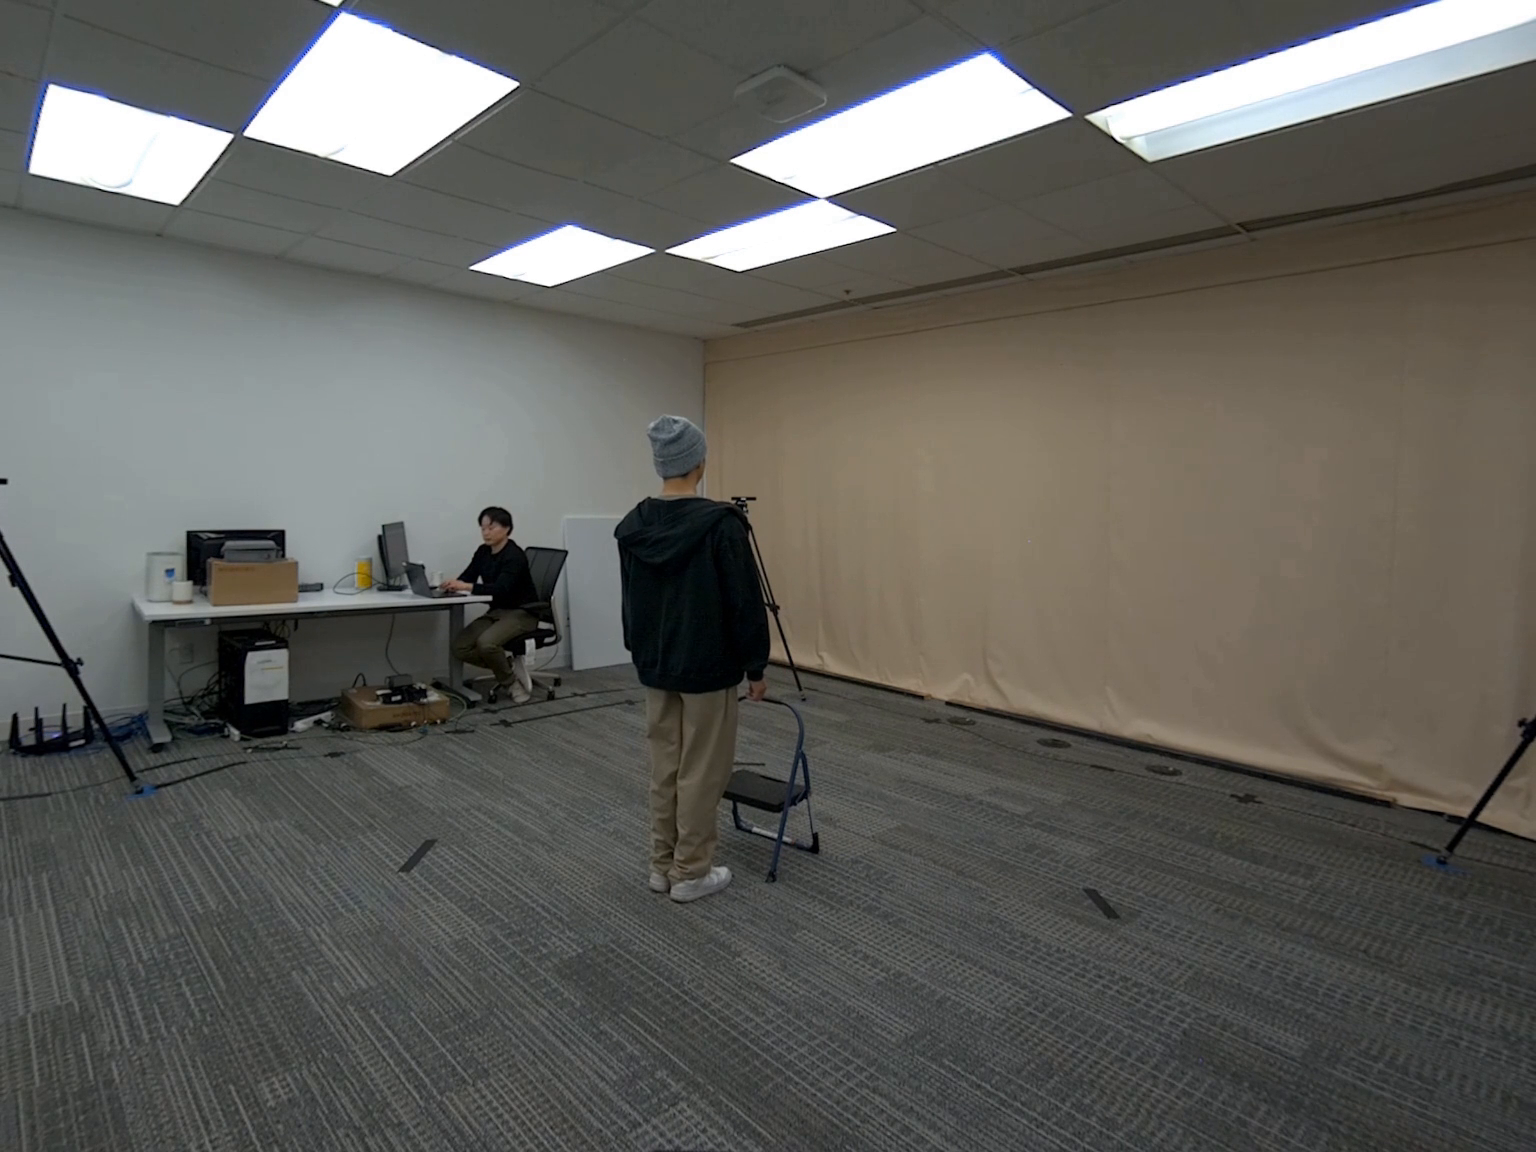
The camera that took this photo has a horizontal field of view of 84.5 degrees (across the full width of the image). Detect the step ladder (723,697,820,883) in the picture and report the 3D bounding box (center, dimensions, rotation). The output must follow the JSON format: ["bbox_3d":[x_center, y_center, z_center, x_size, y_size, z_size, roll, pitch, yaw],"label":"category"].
[{"bbox_3d":[-0.056,0.788,3.307,0.441,0.605,0.341,4,4,37],"label":"step ladder"}]
